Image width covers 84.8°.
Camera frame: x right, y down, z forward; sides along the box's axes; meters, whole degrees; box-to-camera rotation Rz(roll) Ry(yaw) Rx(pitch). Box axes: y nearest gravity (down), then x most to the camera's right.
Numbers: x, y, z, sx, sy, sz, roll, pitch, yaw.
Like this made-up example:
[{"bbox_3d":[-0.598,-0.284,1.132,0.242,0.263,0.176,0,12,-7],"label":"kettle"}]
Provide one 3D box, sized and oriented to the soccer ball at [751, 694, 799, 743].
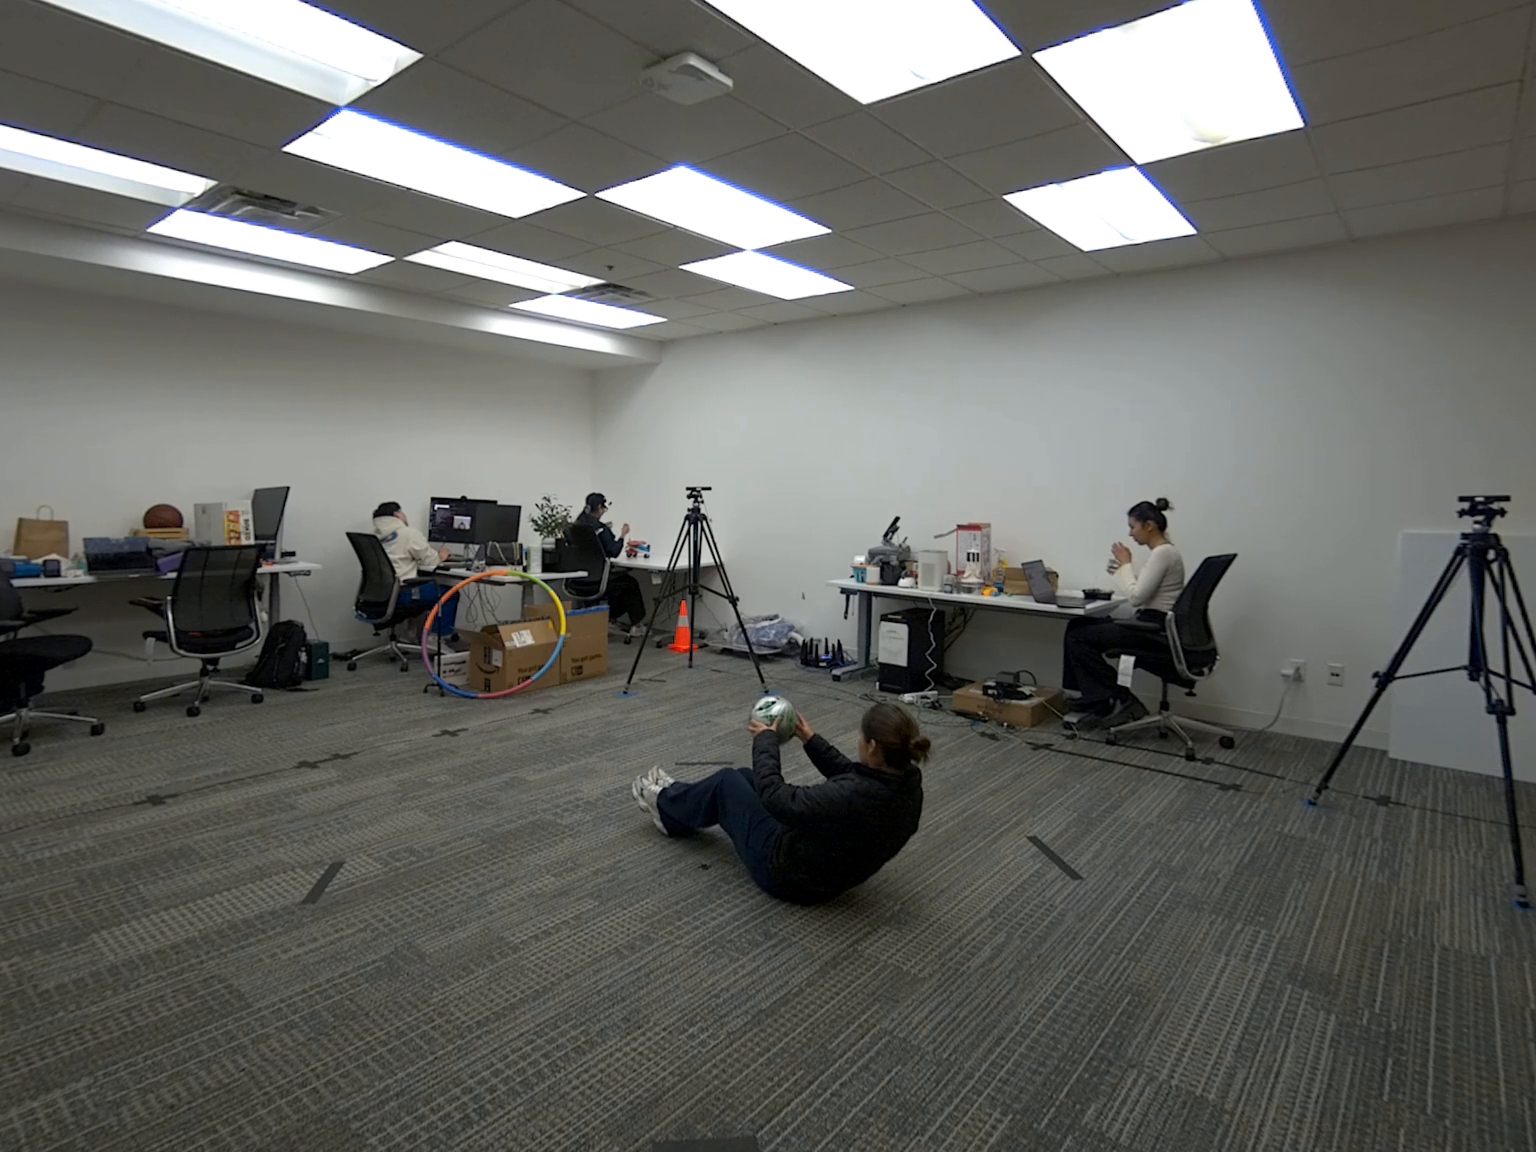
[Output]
[{"bbox_3d":[0.010,0.539,3.193,0.187,0.187,0.188,-3,3,-2],"label":"soccer ball"}]
